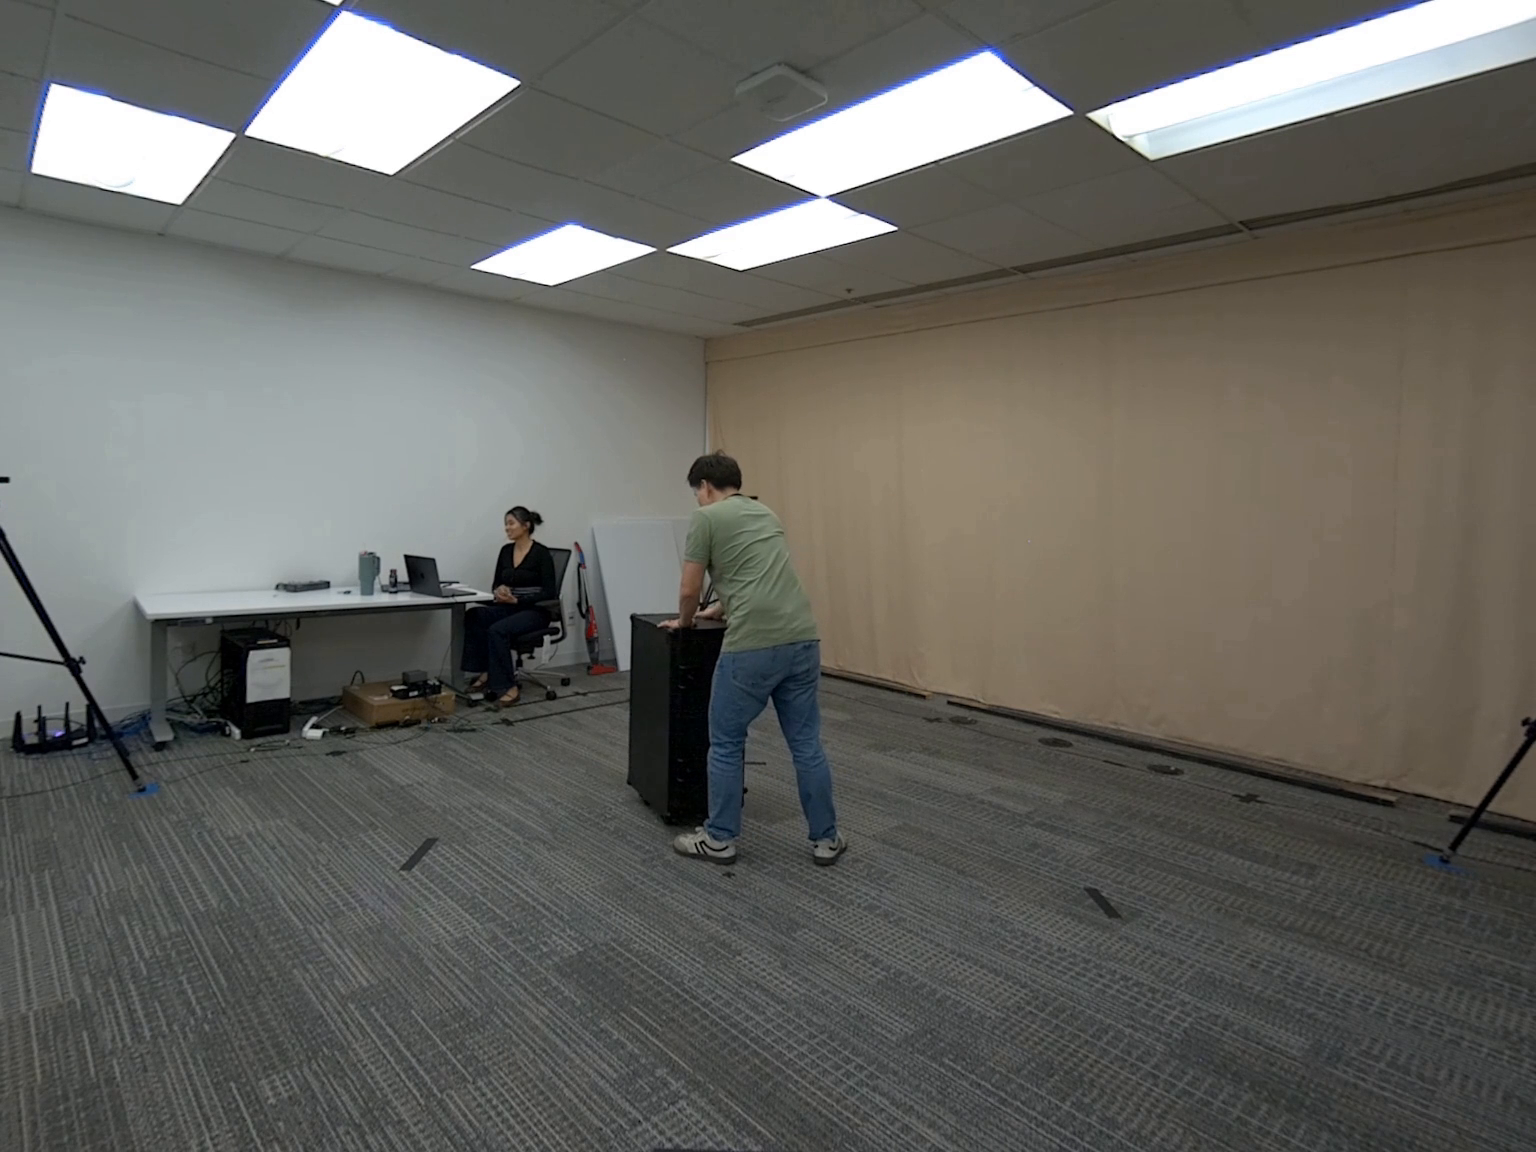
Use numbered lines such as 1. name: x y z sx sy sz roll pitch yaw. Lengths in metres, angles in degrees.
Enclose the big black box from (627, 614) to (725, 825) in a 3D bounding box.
1. big black box: -0.368 0.619 3.726 0.388 0.859 0.532 0 4 -28
